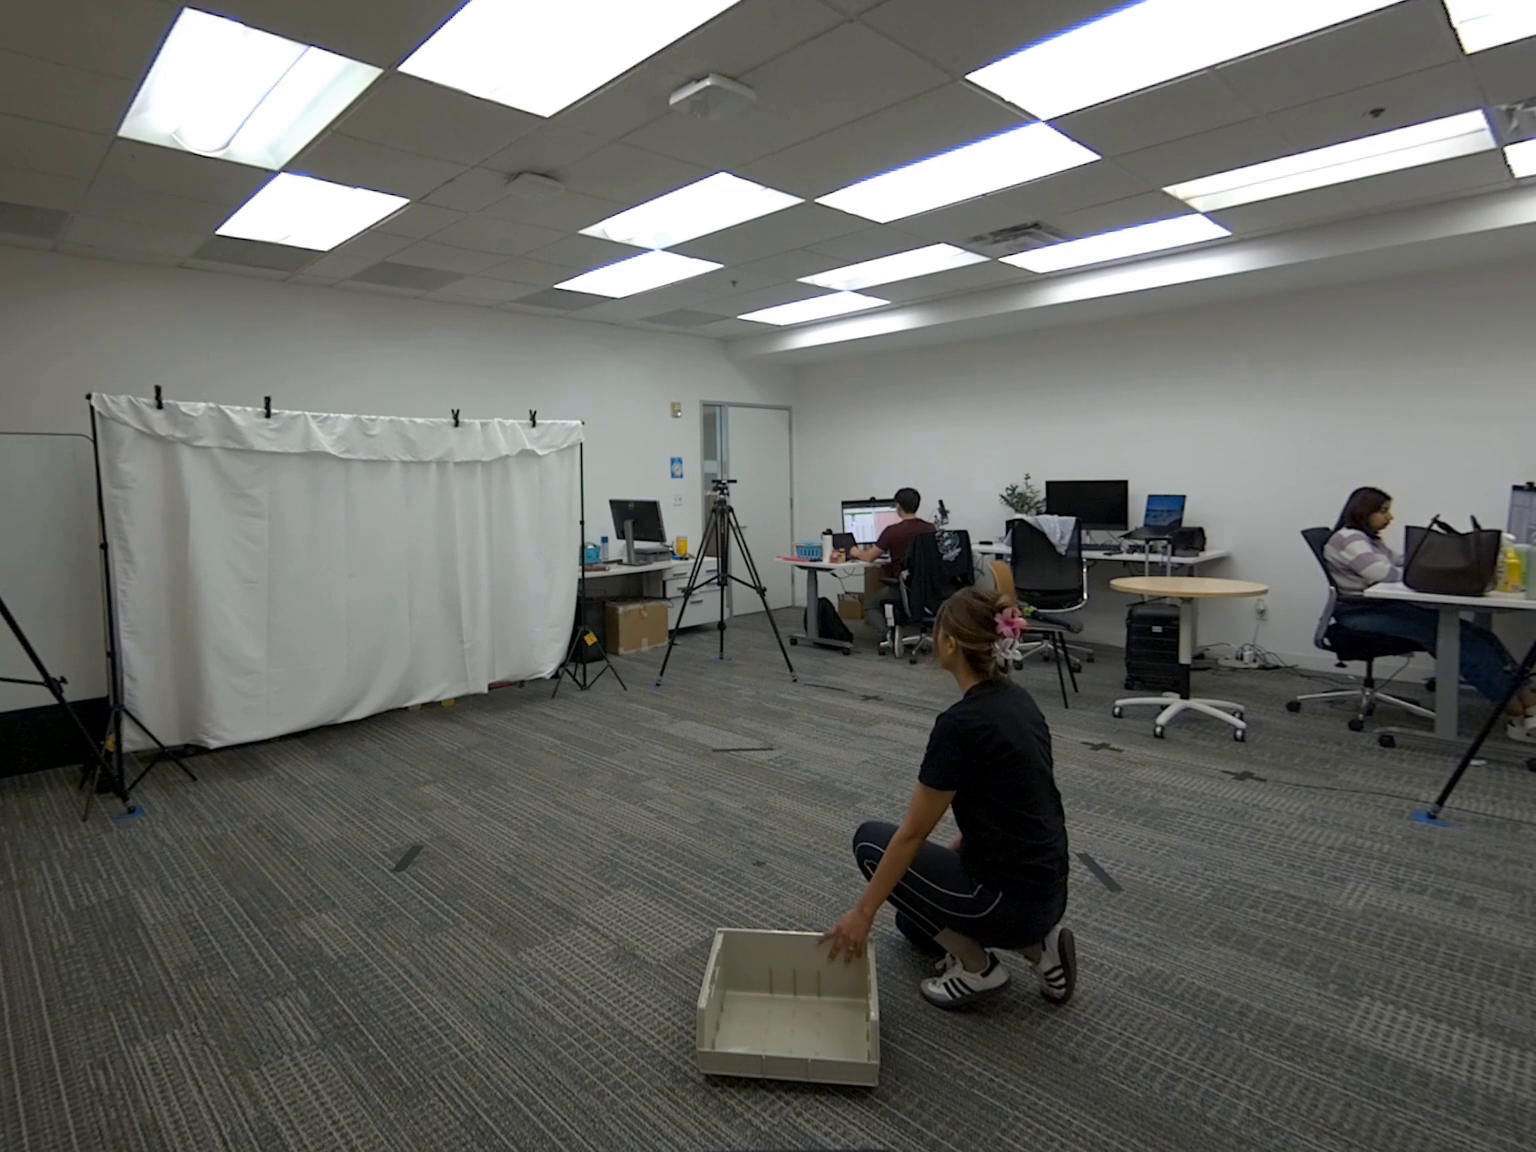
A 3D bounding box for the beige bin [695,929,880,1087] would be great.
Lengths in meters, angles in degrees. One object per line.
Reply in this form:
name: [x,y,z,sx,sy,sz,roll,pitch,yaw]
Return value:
beige bin: [0.065,1.081,2.102,0.425,0.188,0.376,-1,5,6]
